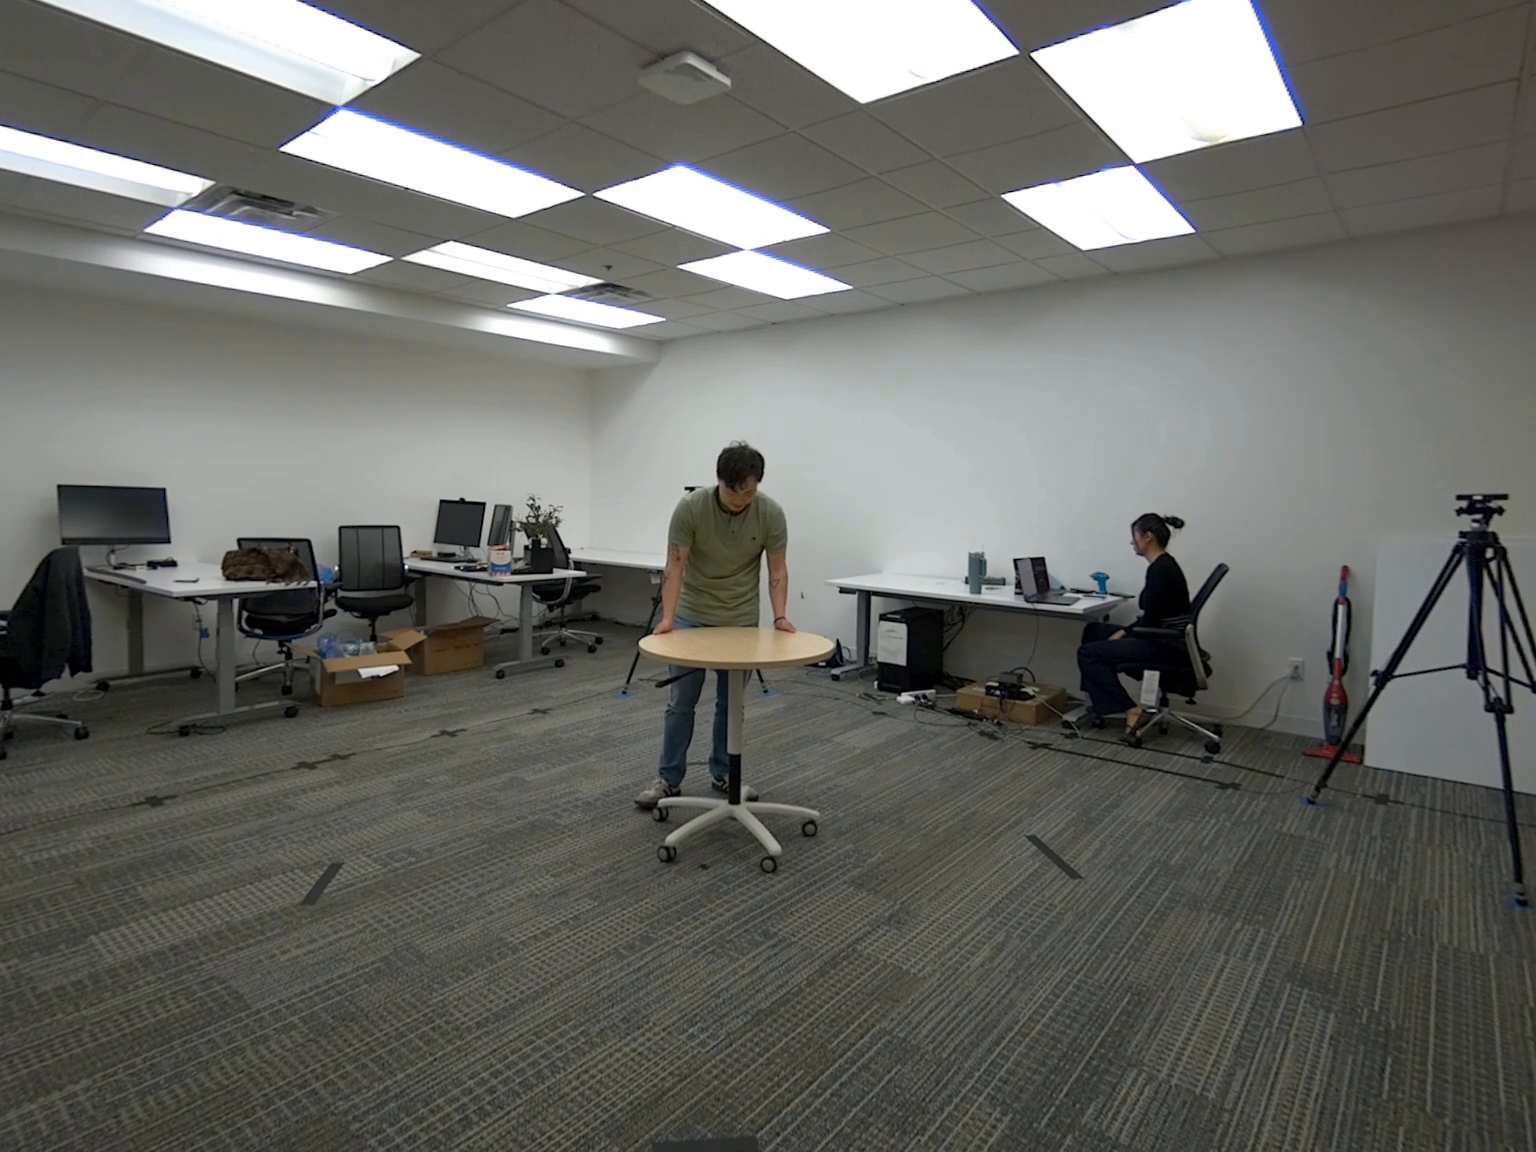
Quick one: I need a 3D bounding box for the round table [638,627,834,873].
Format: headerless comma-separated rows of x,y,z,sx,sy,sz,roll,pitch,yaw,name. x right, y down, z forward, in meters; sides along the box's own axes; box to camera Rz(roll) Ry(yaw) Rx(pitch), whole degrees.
-0.142,0.651,3.358,0.763,0.792,0.767,1,4,-2,round table
